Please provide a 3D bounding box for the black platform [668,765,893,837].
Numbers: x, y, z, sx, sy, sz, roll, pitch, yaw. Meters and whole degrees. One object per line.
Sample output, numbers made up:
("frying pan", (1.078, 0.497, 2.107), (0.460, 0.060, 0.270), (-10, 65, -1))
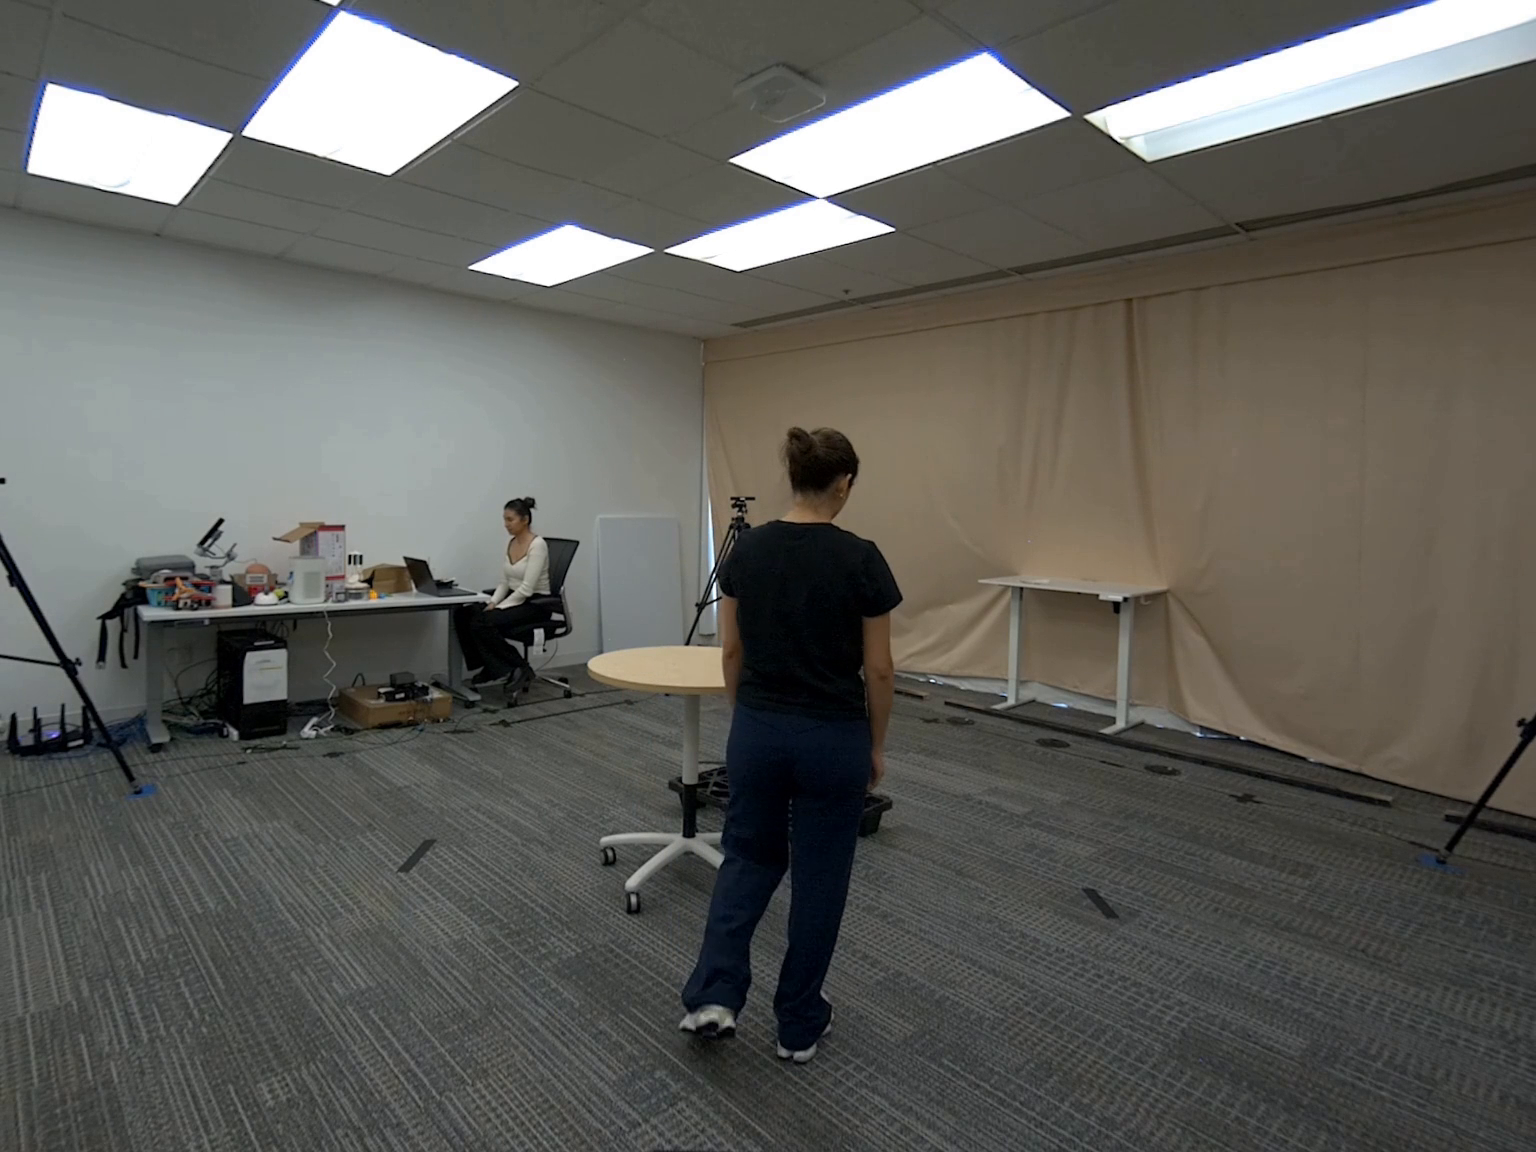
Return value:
("black platform", (0.038, 1.003, 3.644), (0.826, 0.143, 0.591), (6, 7, 45))
